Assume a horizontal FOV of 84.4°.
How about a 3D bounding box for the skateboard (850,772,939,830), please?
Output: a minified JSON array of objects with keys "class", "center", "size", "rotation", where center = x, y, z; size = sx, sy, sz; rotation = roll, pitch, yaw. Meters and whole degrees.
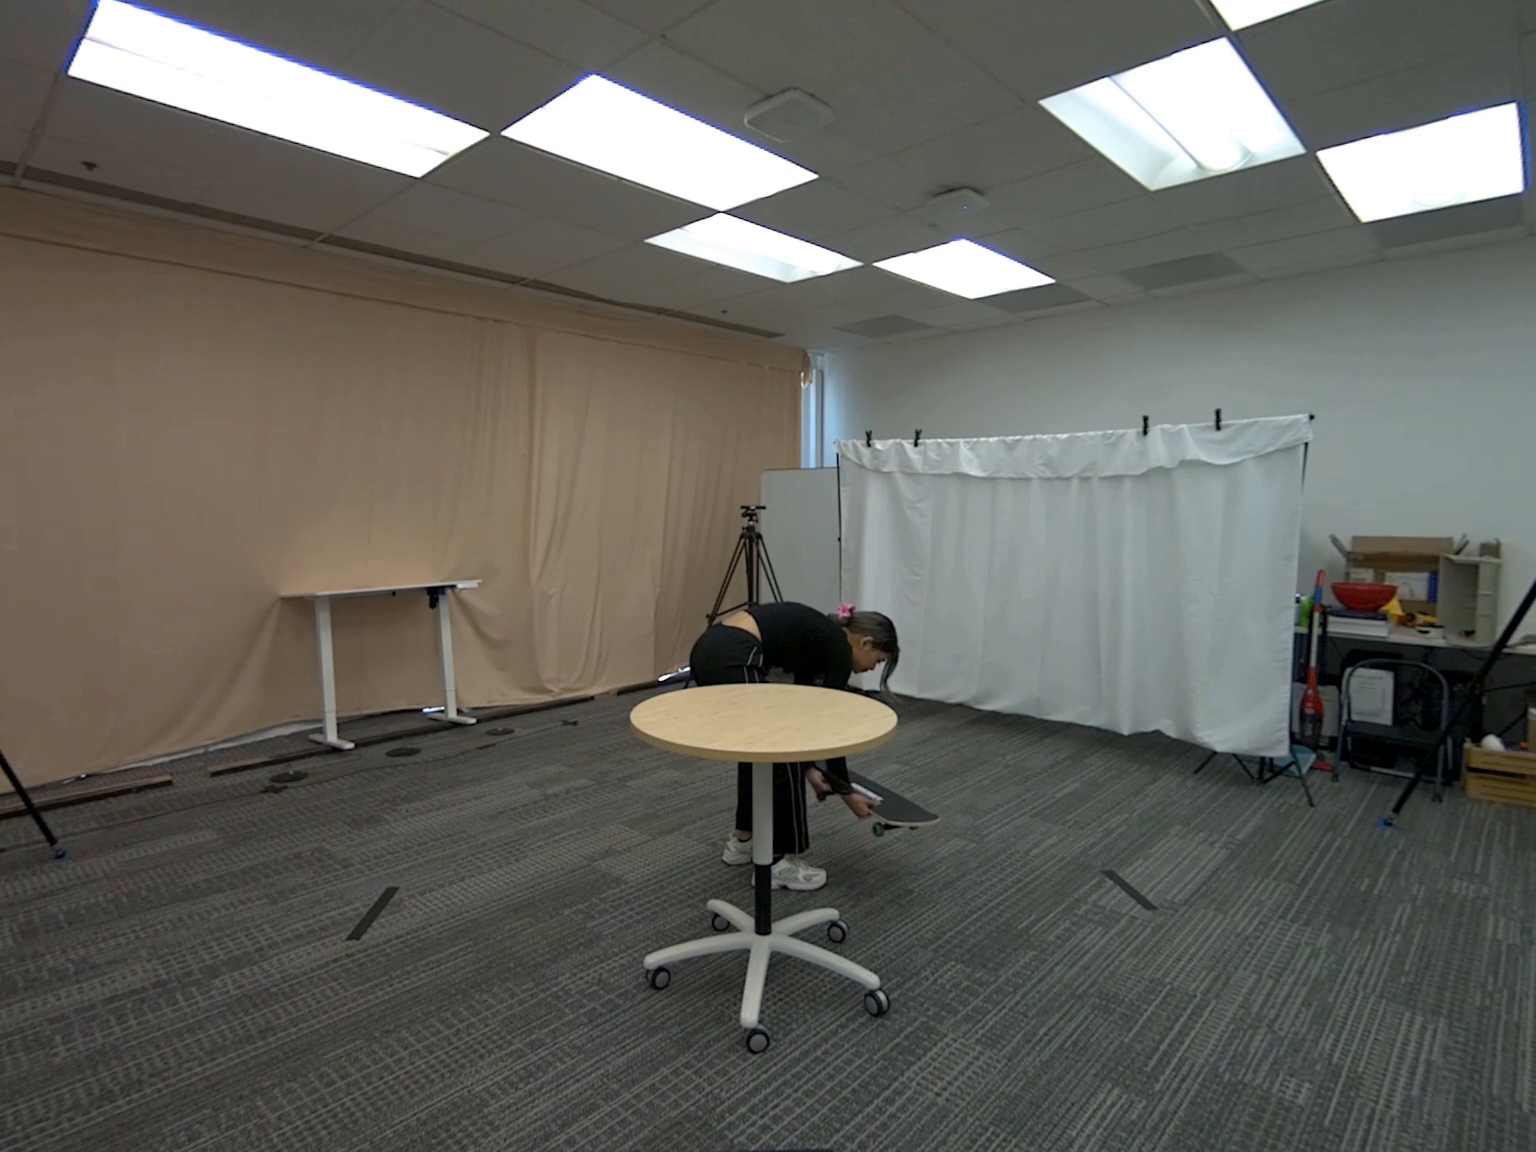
[{"class":"skateboard","center":[0.368,0.862,3.251],"size":[0.189,0.110,0.806],"rotation":[-4,6,-25]}]
